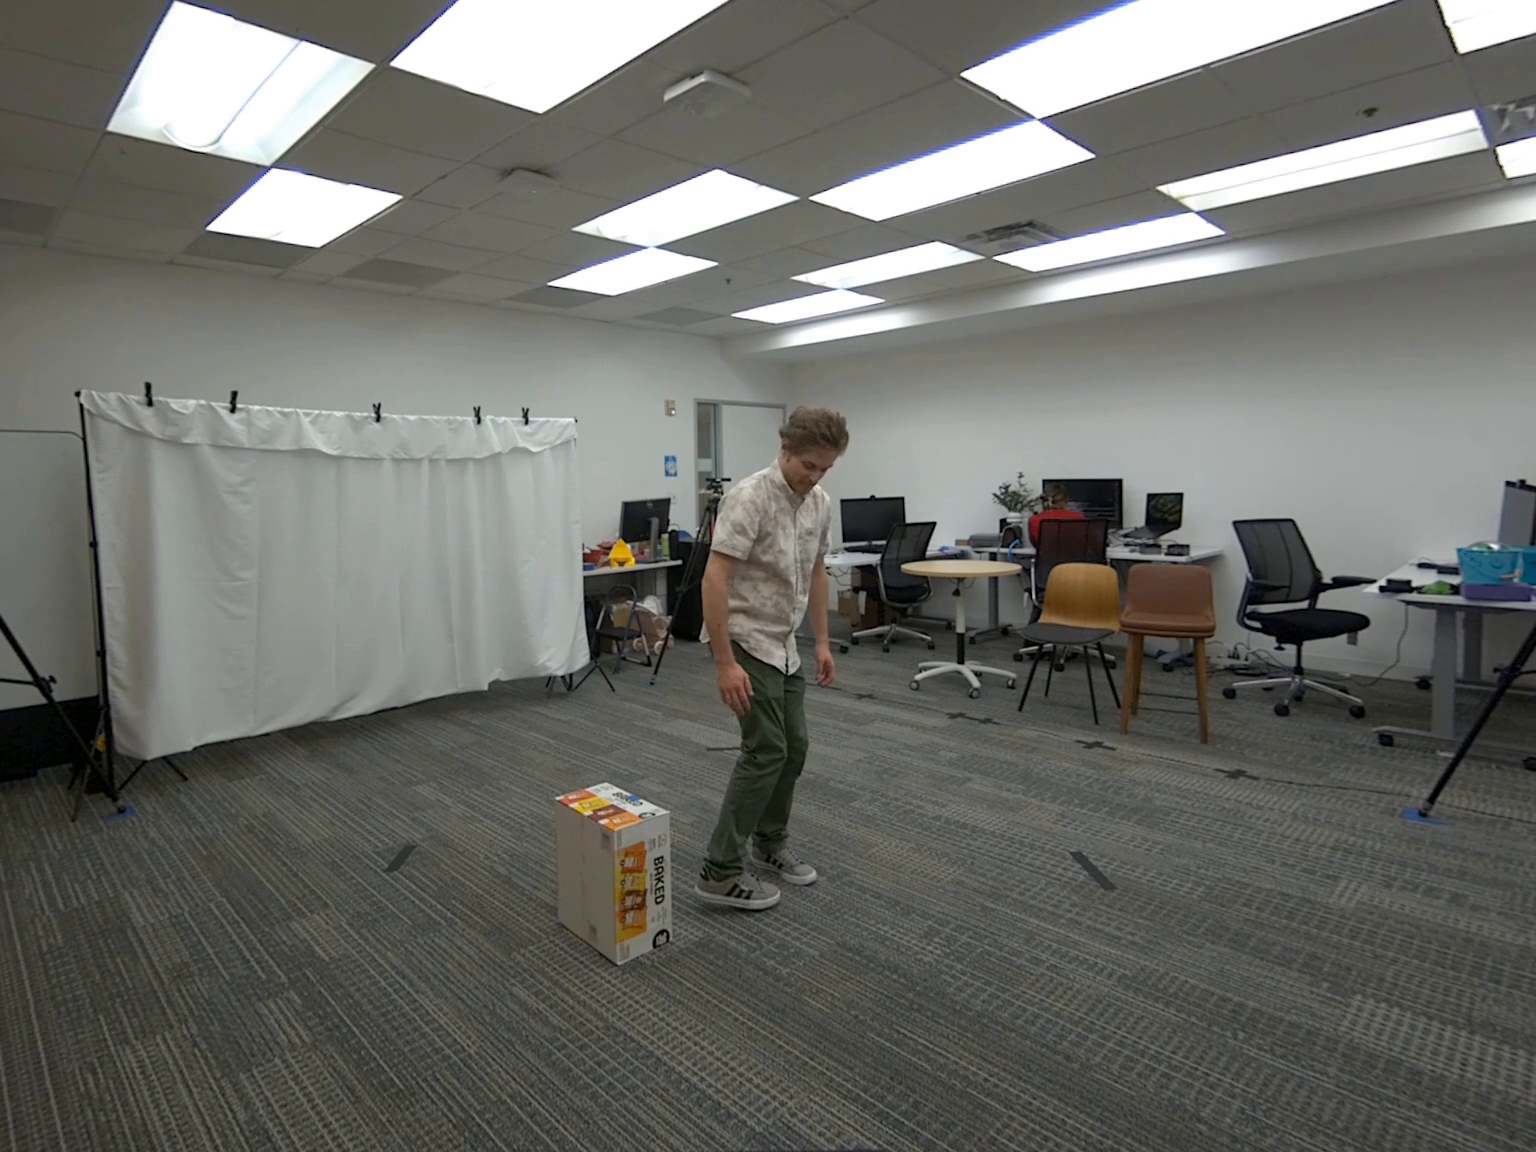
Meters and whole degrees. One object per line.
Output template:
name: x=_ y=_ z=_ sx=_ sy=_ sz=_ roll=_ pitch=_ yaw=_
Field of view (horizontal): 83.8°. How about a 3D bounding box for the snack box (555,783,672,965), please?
snack box: x=-0.480 y=0.904 z=2.636 sx=0.200 sy=0.403 sz=0.351 roll=-5 pitch=6 yaw=-42
